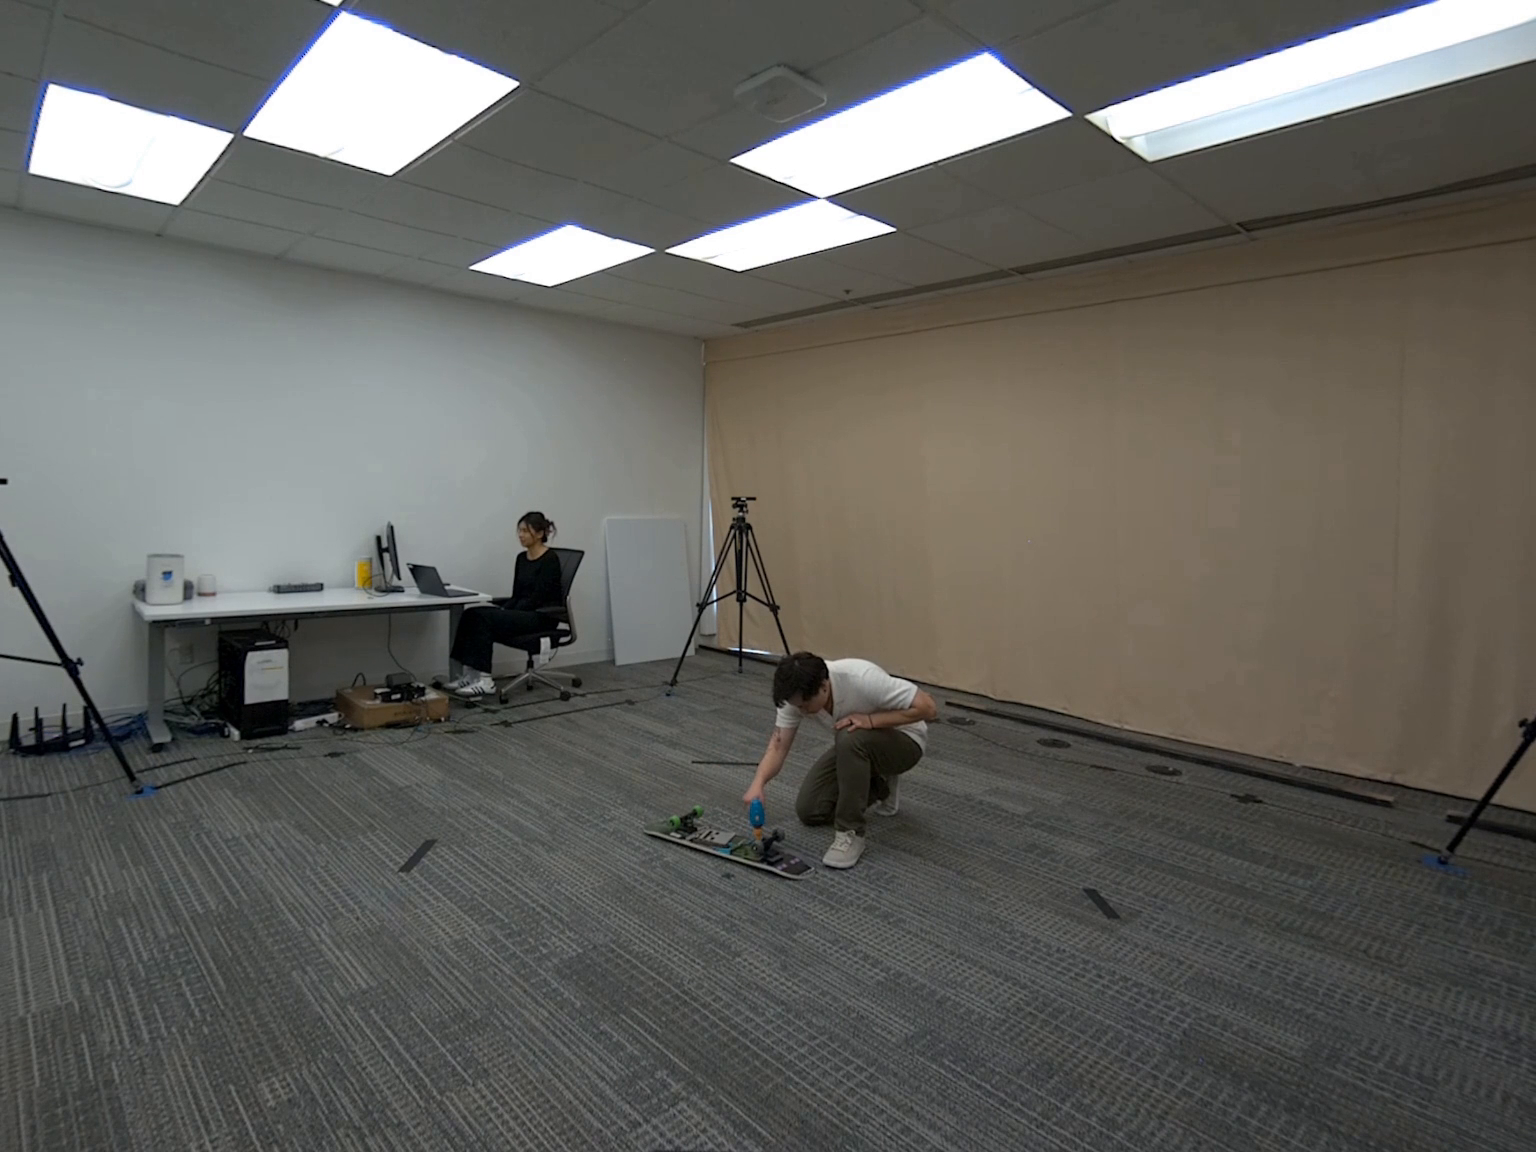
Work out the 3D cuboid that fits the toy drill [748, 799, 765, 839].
[{"bbox_3d":[-0.050,0.946,3.285,0.061,0.169,0.146,-6,2,1],"label":"toy drill"}]
